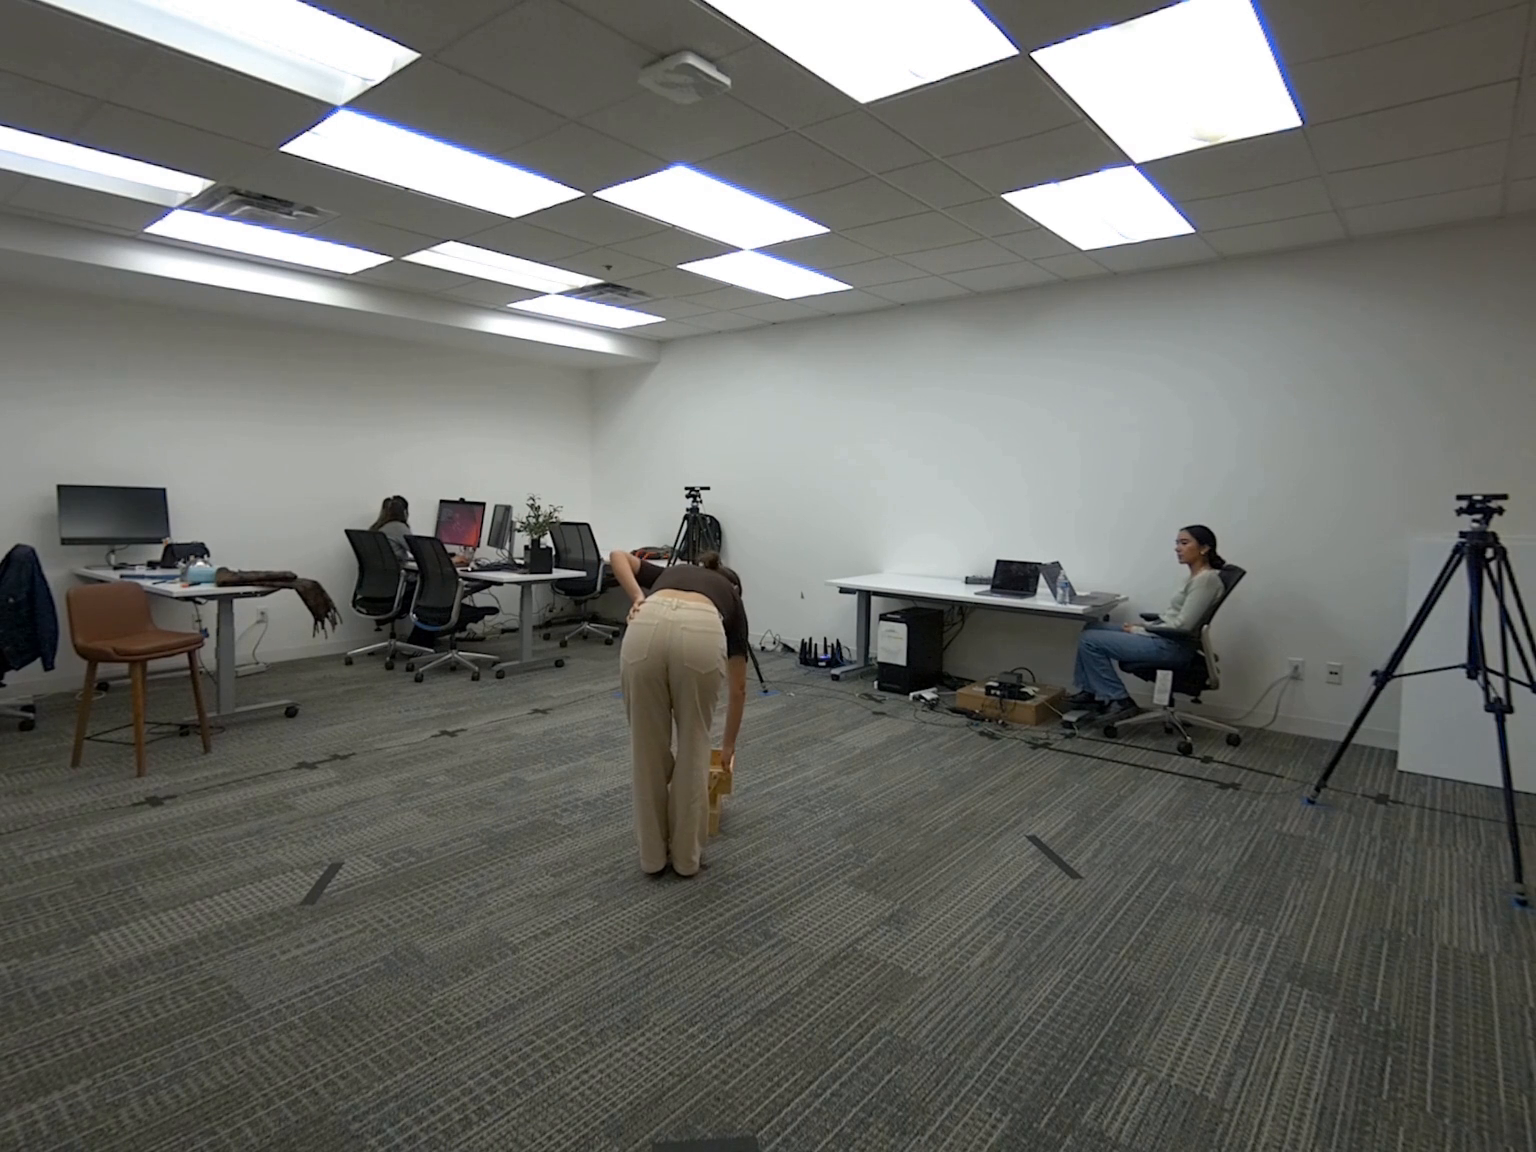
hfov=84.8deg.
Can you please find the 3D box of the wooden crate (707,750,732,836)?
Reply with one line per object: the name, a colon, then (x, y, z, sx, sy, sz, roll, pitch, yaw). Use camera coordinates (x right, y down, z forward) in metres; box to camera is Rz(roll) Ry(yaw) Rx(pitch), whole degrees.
wooden crate: (-0.316, 0.887, 3.556, 0.303, 0.272, 0.325, 1, 5, 1)
